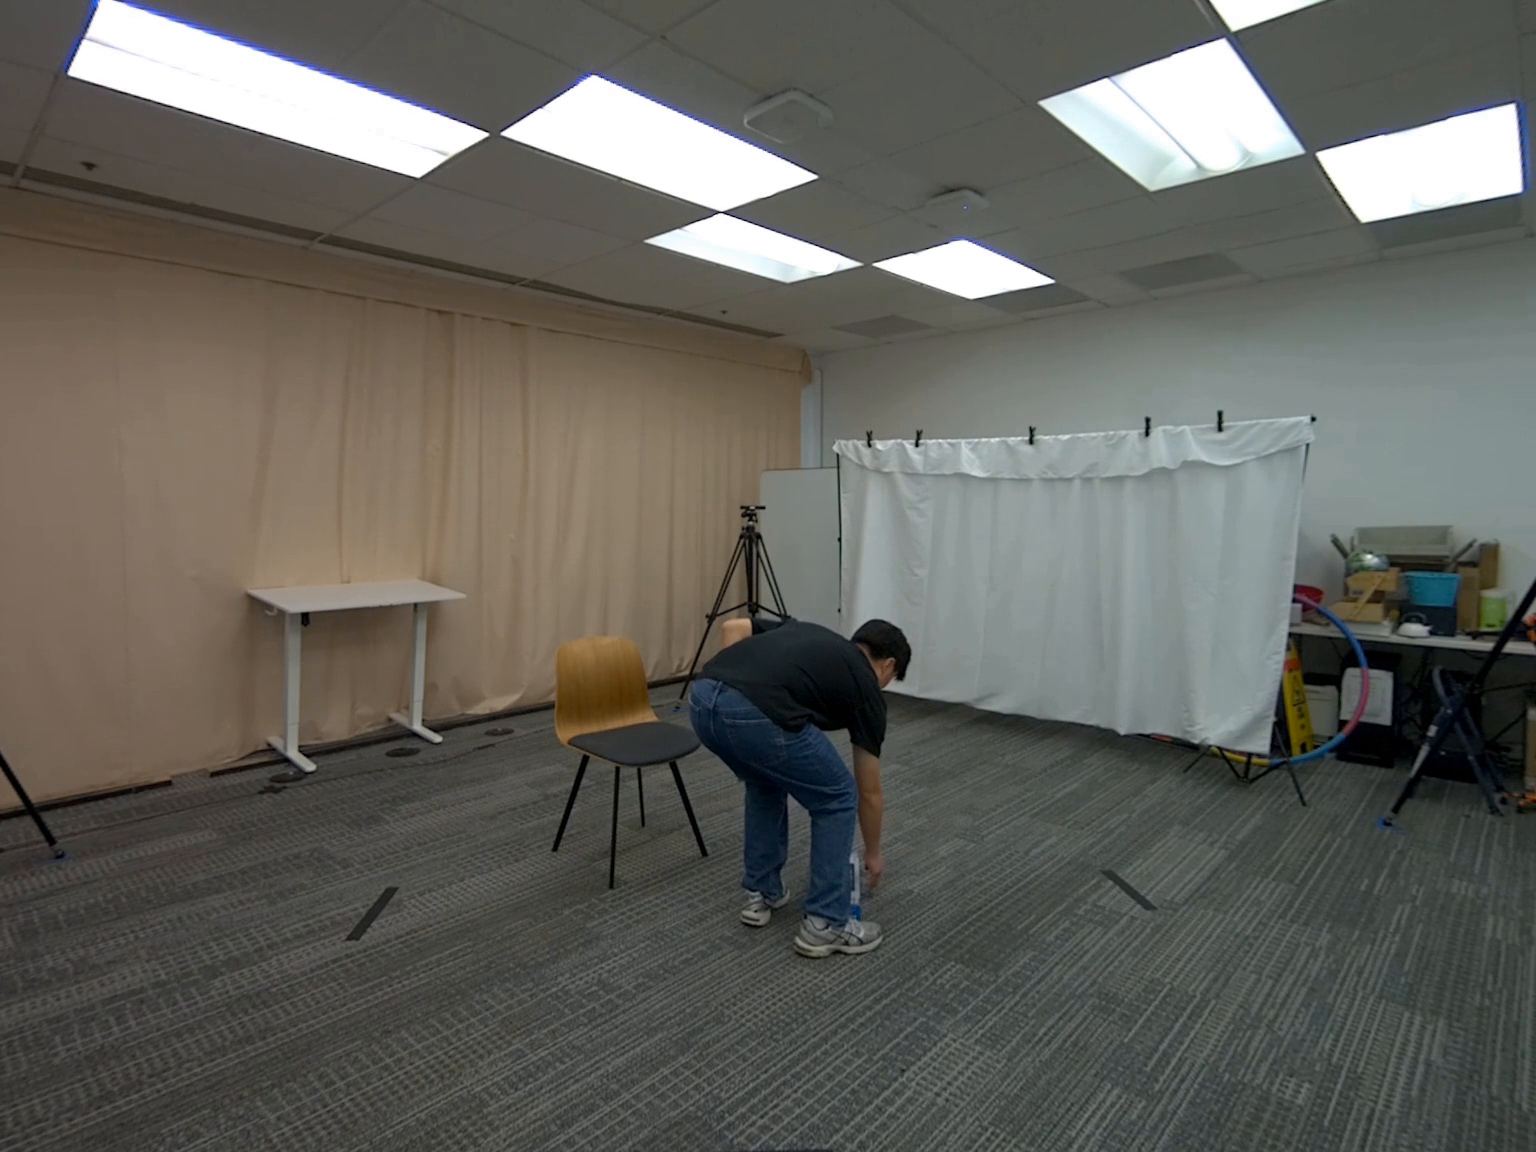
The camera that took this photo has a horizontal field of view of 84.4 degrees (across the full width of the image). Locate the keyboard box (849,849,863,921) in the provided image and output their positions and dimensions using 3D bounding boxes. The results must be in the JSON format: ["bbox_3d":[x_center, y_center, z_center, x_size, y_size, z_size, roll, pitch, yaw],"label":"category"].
[{"bbox_3d":[0.250,1.111,3.030,0.177,0.059,0.434,0,5,6],"label":"keyboard box"}]
